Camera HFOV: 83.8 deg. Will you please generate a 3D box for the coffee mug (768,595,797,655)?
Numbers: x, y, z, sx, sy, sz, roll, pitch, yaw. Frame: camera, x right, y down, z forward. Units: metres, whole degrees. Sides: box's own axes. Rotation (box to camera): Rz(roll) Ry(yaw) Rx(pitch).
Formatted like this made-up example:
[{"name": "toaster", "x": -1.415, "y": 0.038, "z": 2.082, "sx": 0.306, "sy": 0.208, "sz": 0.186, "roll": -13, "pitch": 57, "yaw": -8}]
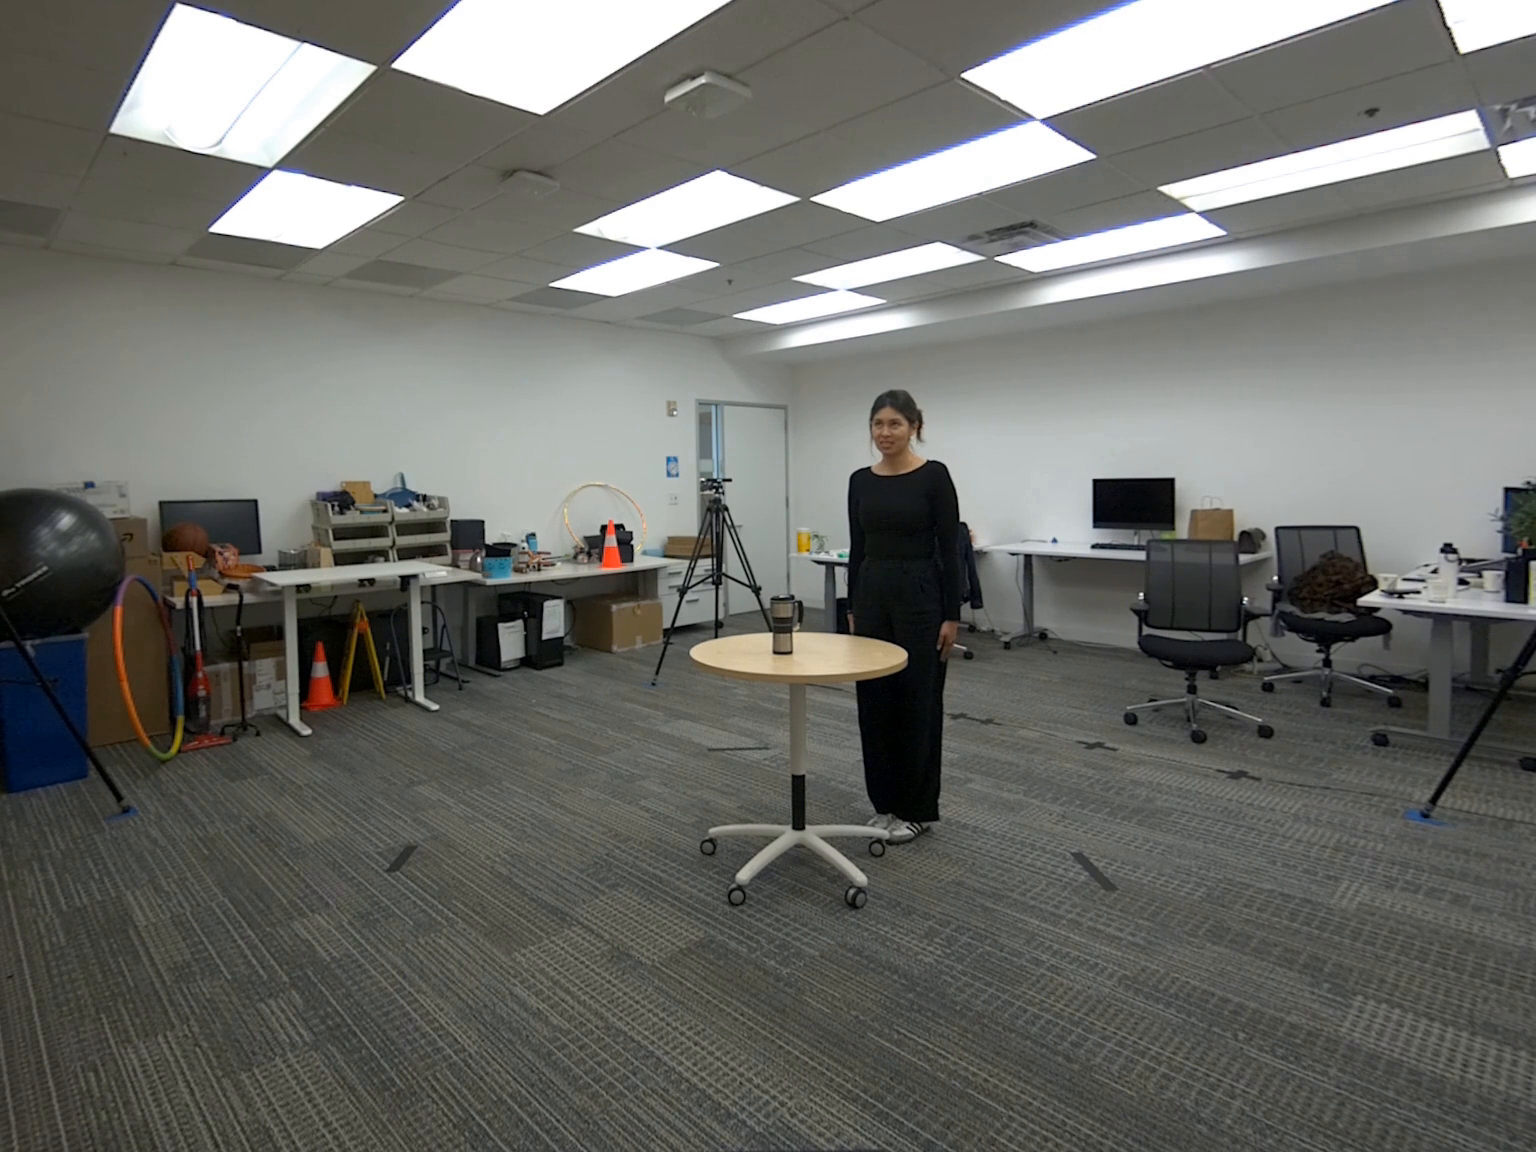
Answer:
[{"name": "coffee mug", "x": 0.075, "y": 0.172, "z": 2.983, "sx": 0.123, "sy": 0.203, "sz": 0.087, "roll": 0, "pitch": 0, "yaw": 13}]
